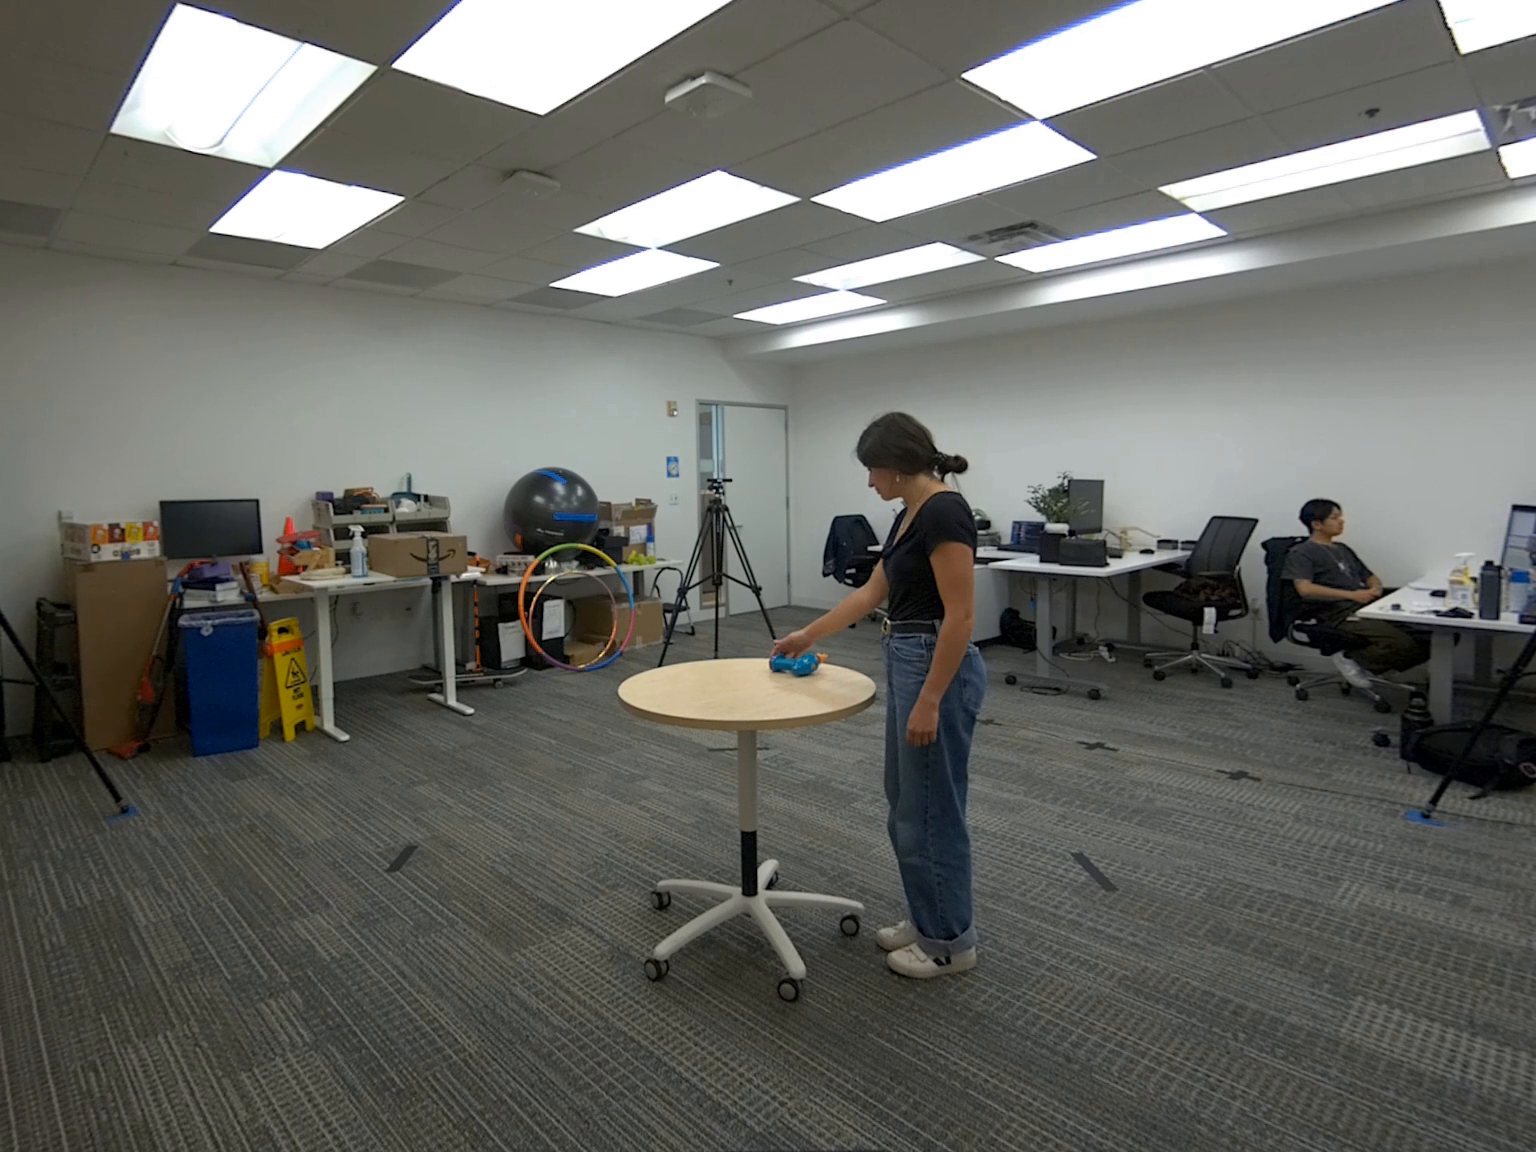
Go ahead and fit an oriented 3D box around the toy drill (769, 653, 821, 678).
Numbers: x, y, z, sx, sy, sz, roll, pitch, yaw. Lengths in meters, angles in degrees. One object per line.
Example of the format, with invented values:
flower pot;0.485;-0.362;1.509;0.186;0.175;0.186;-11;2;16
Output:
toy drill;0.112;0.277;2.720;0.166;0.060;0.150;-16;13;-40
